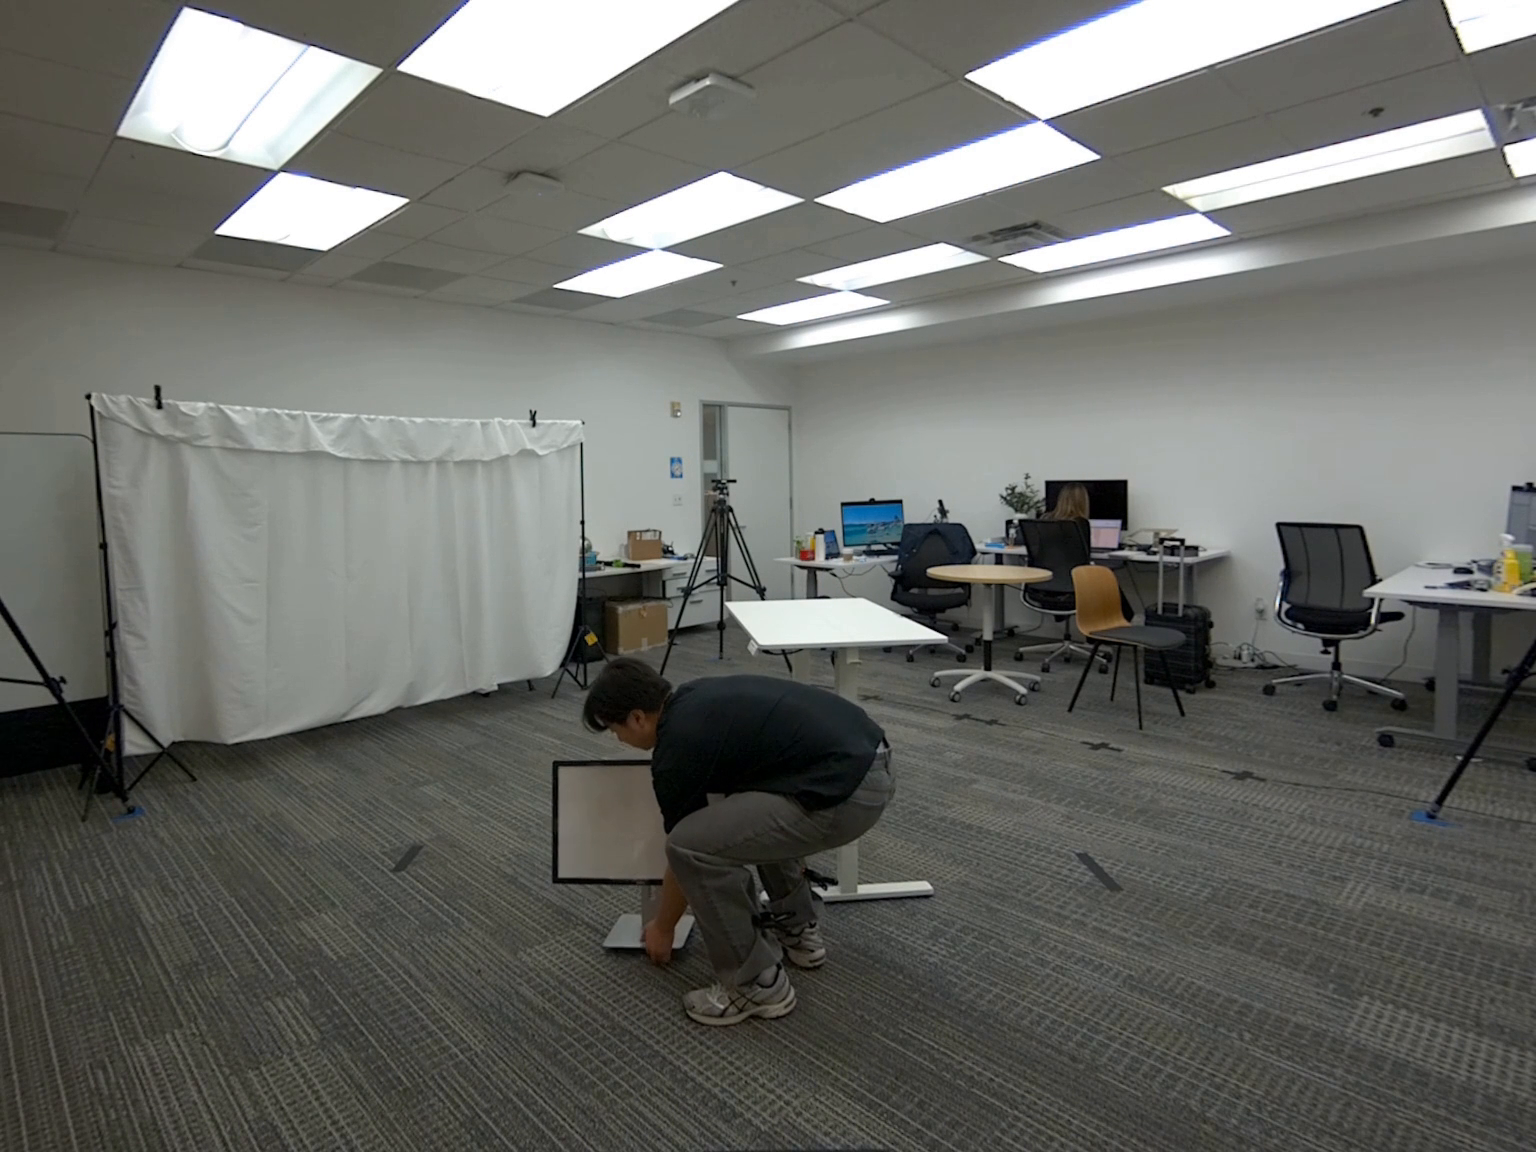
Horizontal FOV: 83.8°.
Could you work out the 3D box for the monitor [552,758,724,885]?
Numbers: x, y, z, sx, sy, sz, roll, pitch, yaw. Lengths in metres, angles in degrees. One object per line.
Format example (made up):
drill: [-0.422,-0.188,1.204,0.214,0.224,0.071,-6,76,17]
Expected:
monitor: [-0.371,0.839,2.603,0.568,0.564,0.220,-3,4,12]
